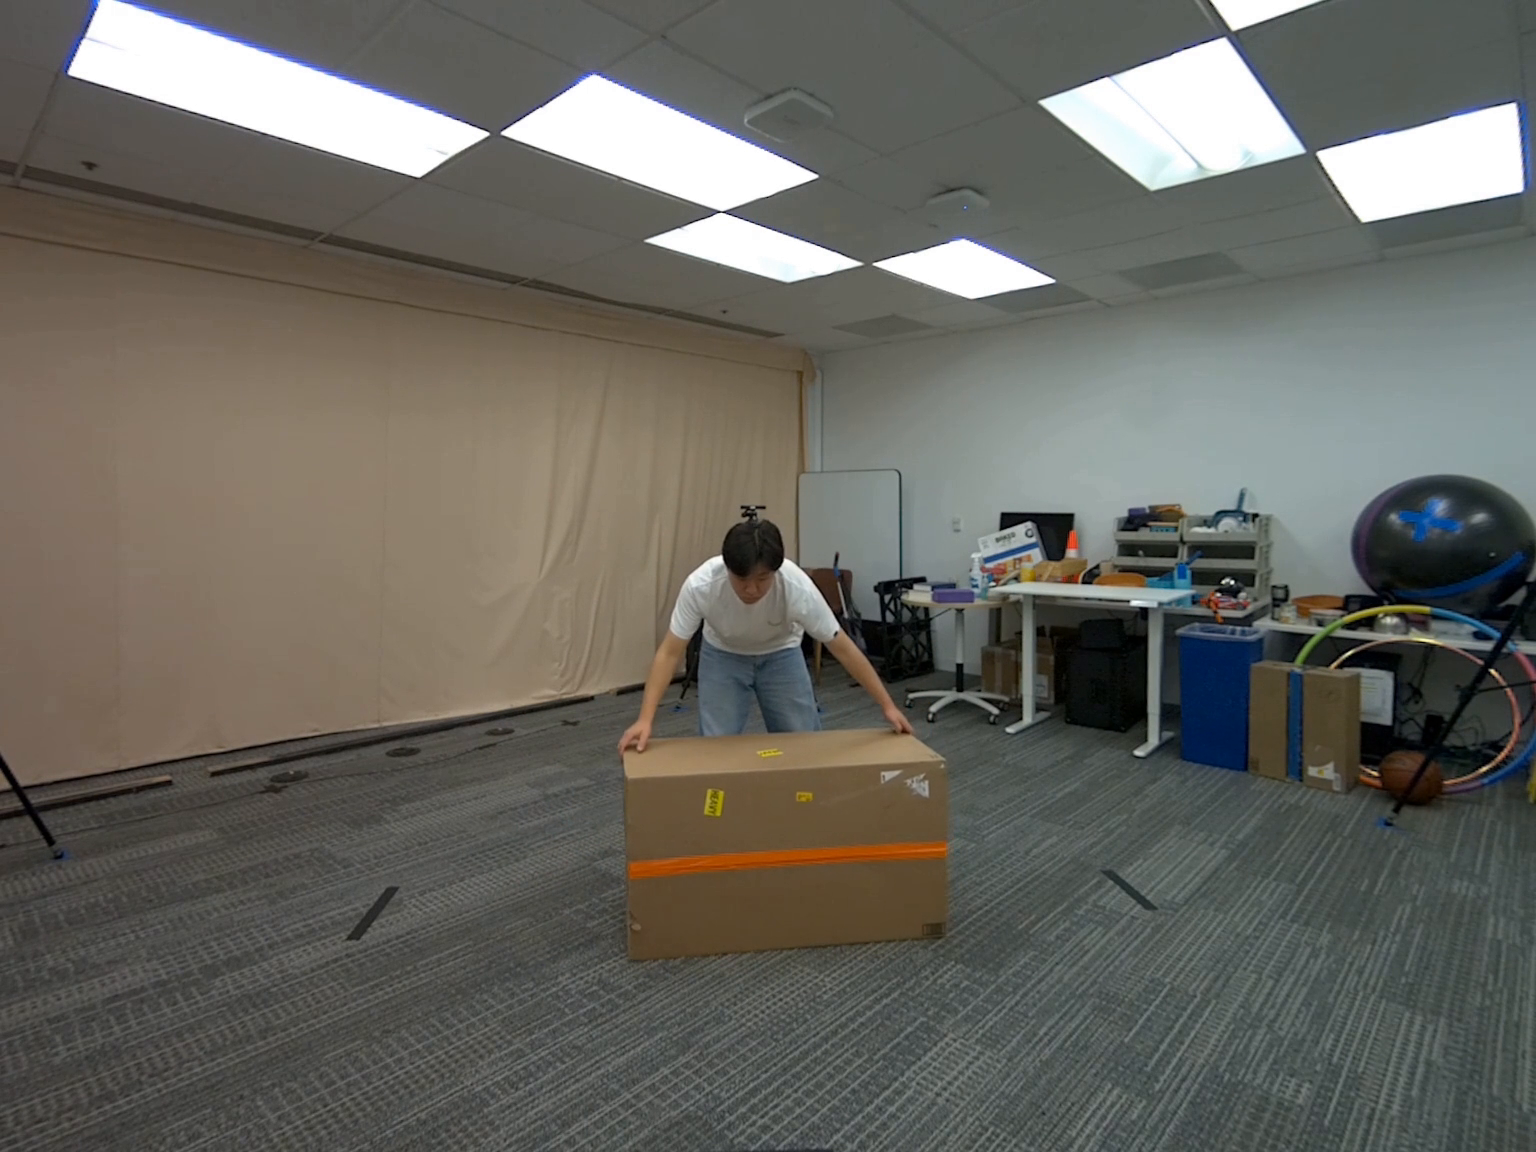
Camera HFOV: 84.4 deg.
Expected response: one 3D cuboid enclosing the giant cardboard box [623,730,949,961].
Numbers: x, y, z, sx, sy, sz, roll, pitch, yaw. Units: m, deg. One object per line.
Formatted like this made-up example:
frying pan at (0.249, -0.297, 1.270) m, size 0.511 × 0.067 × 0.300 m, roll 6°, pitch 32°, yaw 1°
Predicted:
giant cardboard box at (0.034, 0.864, 2.824) m, size 1.017 × 0.577 × 0.431 m, roll -1°, pitch 3°, yaw -9°
